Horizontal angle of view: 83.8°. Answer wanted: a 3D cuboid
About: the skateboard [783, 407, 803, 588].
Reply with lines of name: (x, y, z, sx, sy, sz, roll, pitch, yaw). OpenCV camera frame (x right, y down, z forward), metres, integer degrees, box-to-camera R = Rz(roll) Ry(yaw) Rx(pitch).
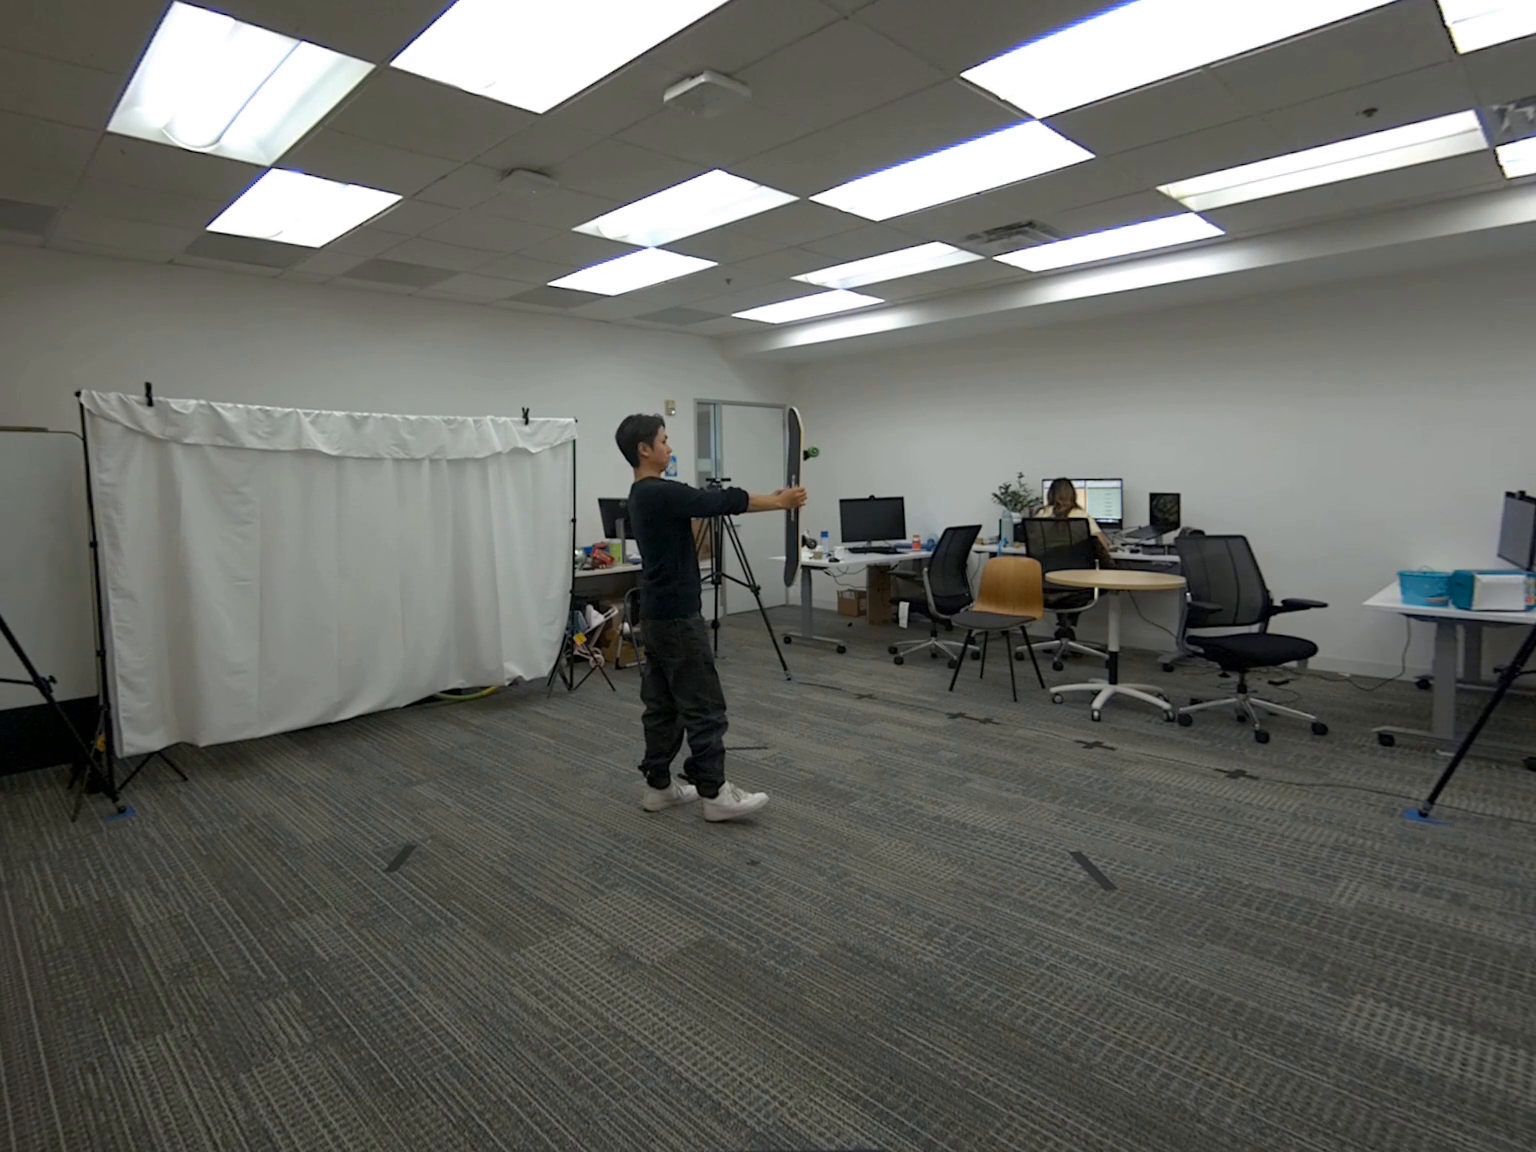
skateboard: (0.144, -0.344, 3.771, 0.109, 0.784, 0.197, 1, 2, -16)
